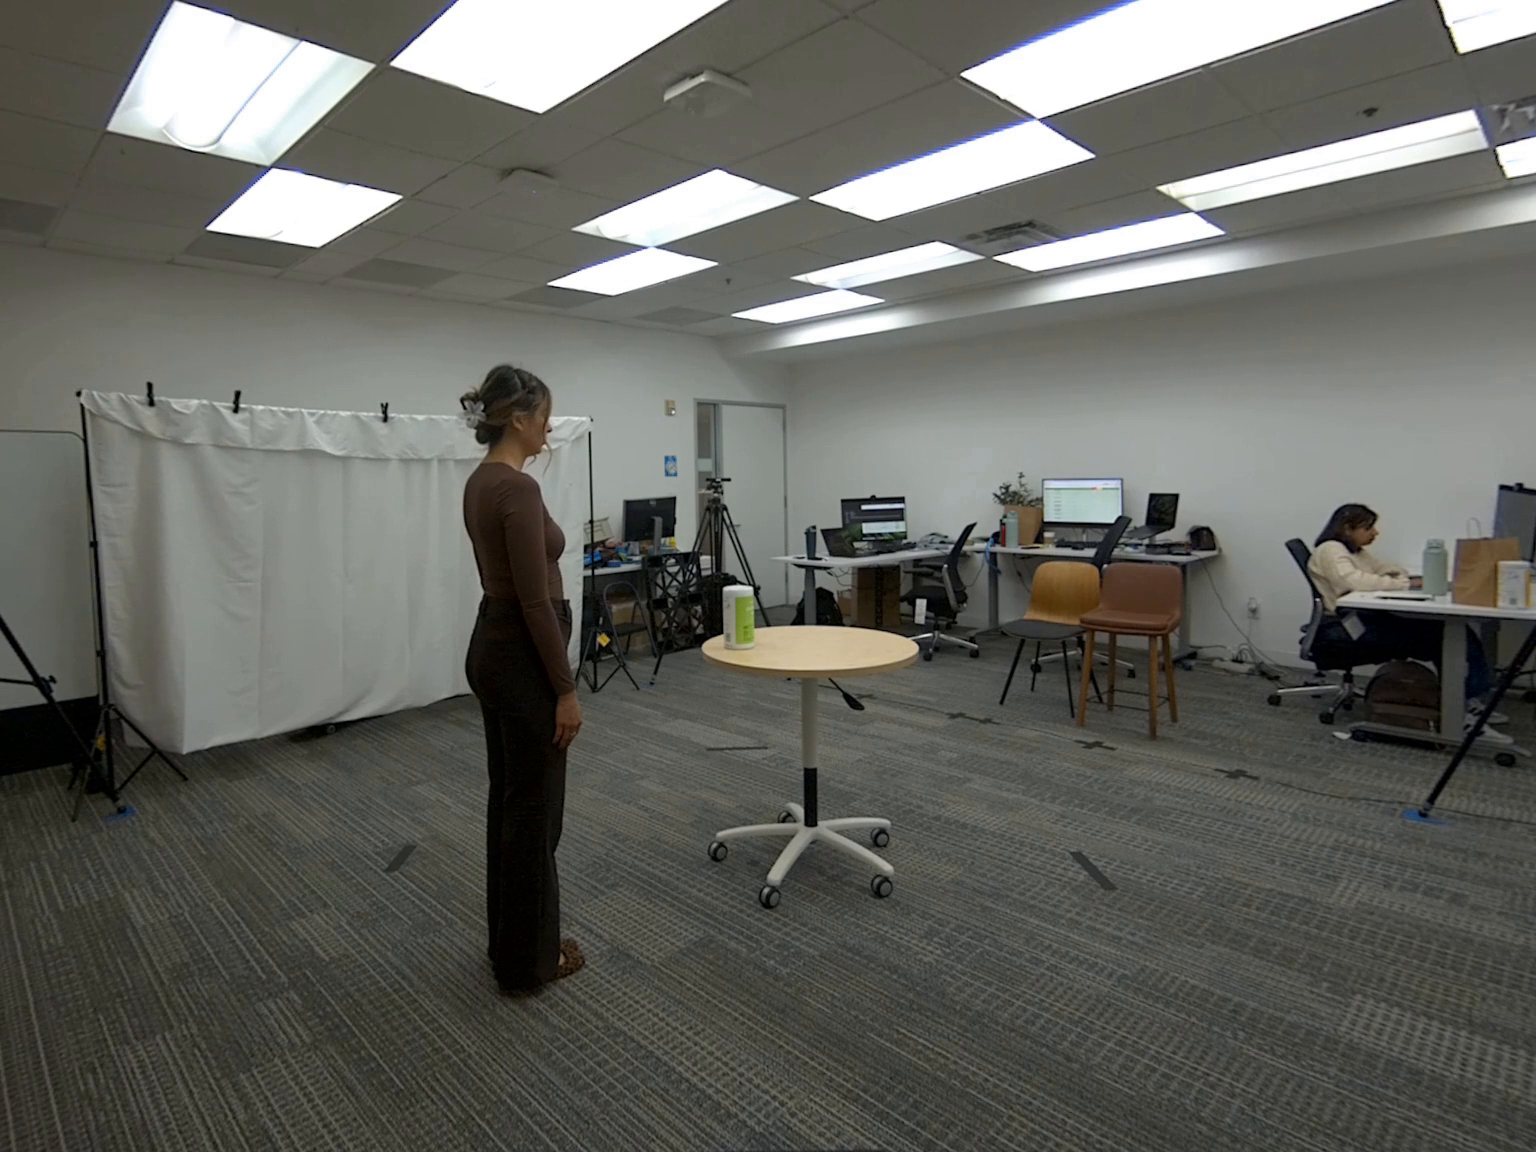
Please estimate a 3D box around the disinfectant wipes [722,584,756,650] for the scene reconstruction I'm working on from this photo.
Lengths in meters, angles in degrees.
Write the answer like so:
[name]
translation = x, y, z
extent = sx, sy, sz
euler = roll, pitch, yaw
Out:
[disinfectant wipes]
translation = -0.105, 0.147, 3.040
extent = 0.118, 0.217, 0.118
euler = -1, 4, -2
